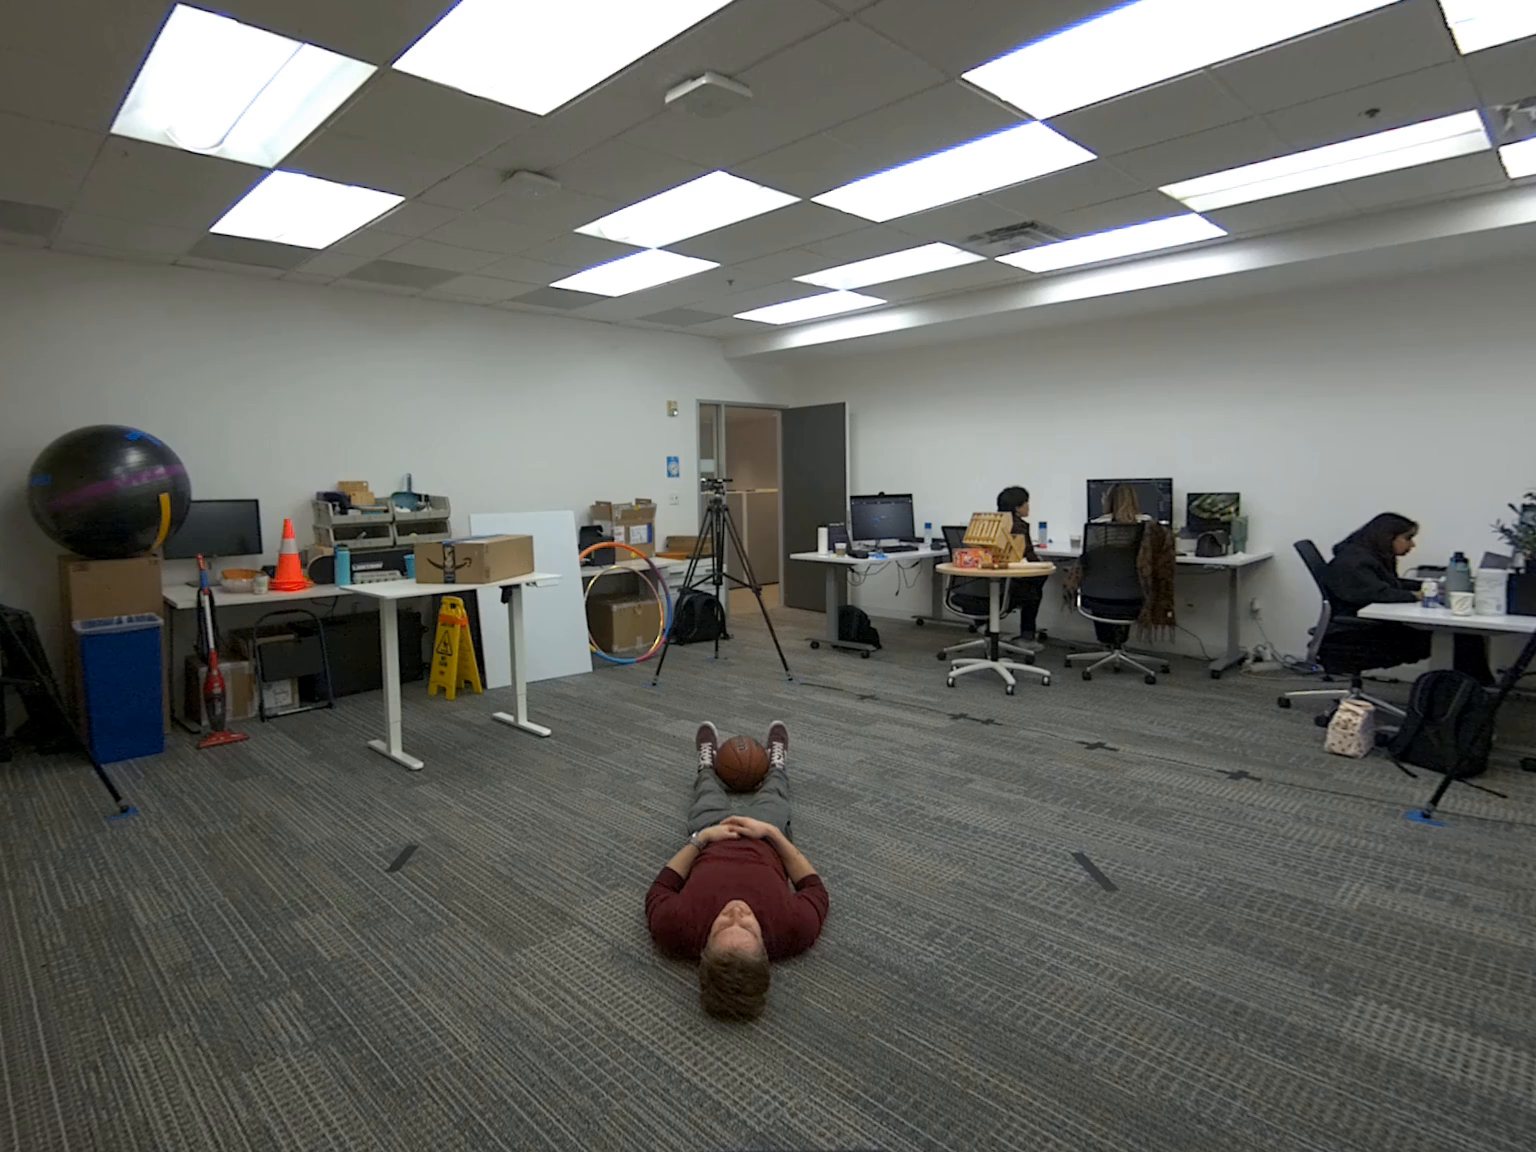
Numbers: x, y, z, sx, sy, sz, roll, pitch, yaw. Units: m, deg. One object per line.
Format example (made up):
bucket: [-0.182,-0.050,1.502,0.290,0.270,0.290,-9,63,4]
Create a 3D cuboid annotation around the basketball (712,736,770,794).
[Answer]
basketball: [-0.115,0.837,3.844,0.236,0.236,0.236,0,1,-2]
